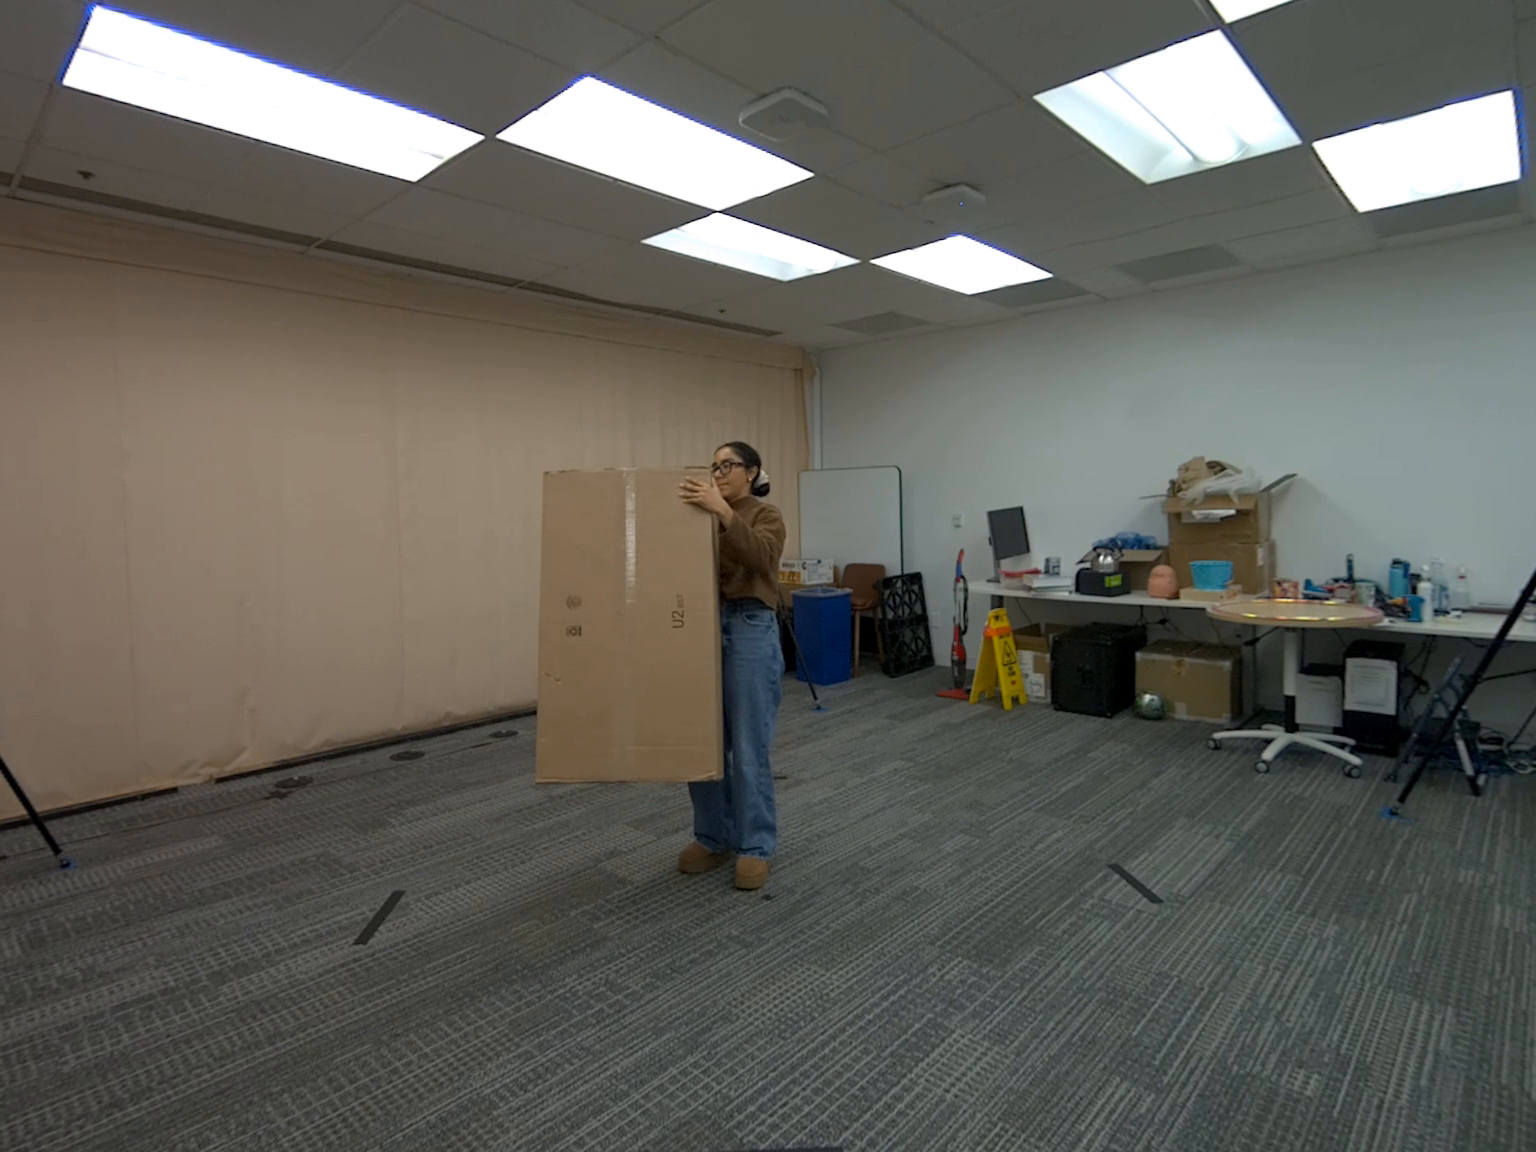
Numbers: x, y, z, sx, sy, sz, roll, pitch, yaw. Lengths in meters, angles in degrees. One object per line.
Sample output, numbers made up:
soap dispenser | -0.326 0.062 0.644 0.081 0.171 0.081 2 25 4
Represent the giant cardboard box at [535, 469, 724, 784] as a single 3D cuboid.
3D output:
giant cardboard box | -0.469 0.181 2.910 0.578 1.035 0.422 -2 -14 0
